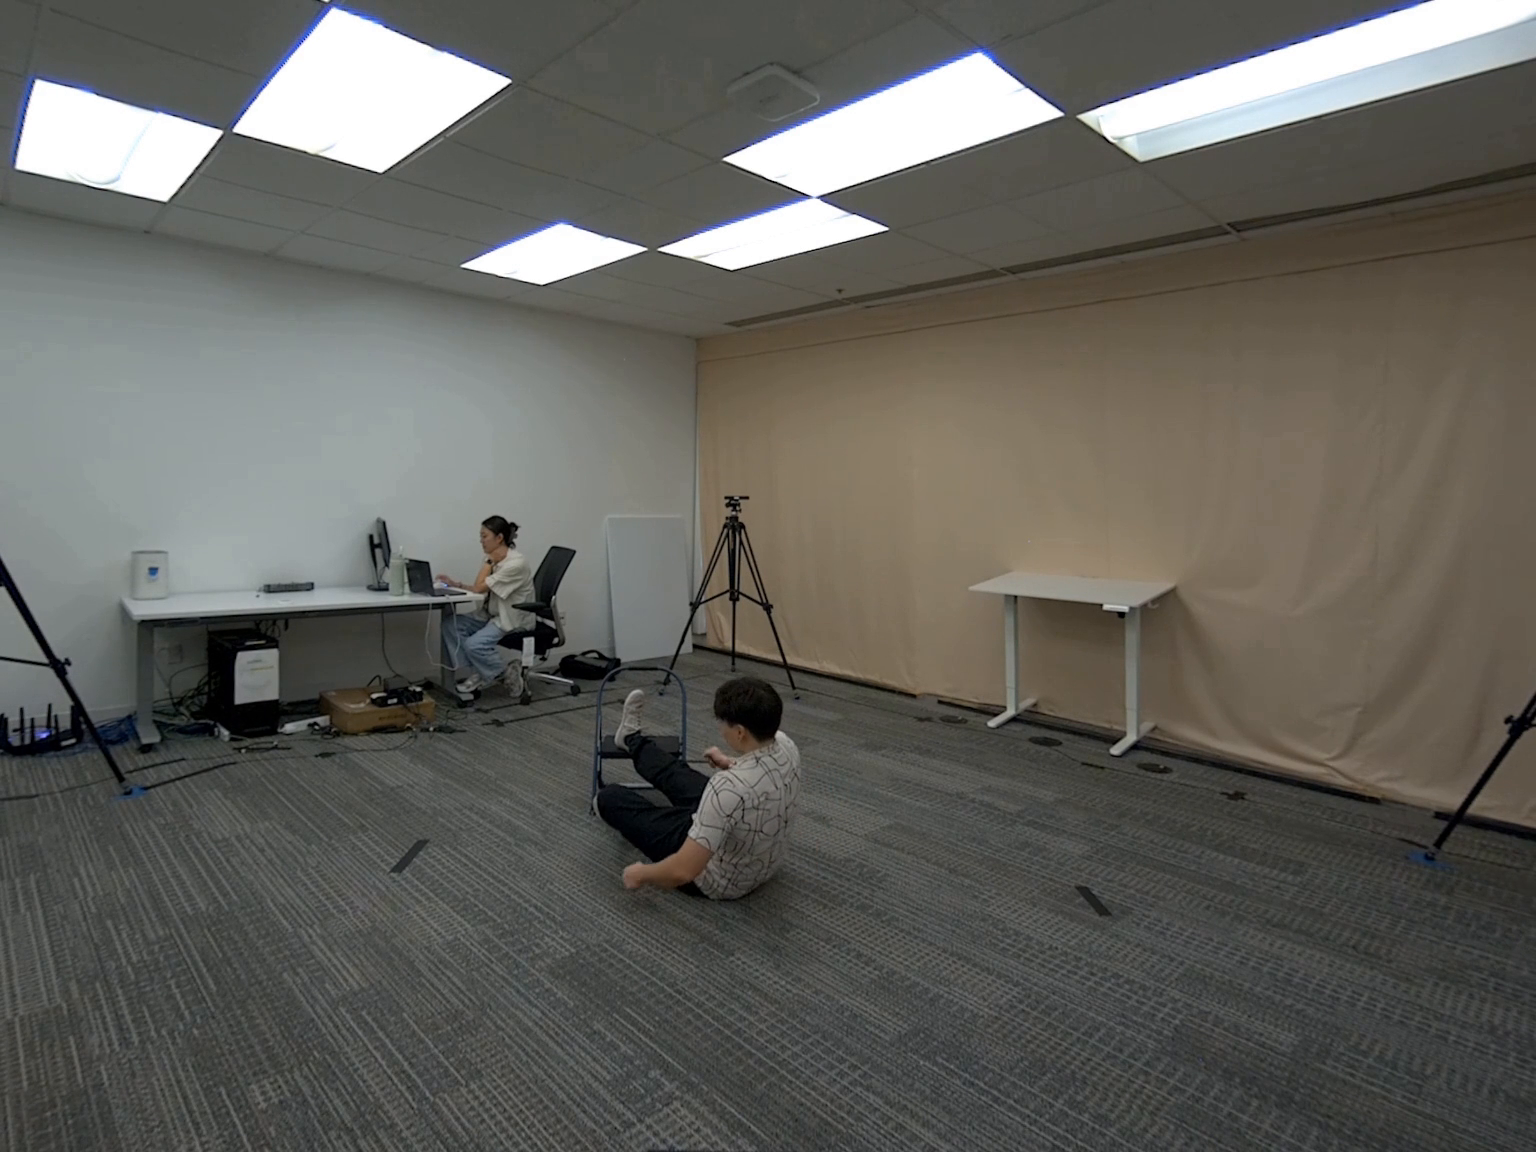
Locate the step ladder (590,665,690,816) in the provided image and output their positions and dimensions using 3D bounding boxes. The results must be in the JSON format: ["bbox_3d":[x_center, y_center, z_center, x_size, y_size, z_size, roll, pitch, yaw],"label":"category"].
[{"bbox_3d":[-0.588,0.733,3.844,0.429,0.604,0.352,1,4,-6],"label":"step ladder"}]
